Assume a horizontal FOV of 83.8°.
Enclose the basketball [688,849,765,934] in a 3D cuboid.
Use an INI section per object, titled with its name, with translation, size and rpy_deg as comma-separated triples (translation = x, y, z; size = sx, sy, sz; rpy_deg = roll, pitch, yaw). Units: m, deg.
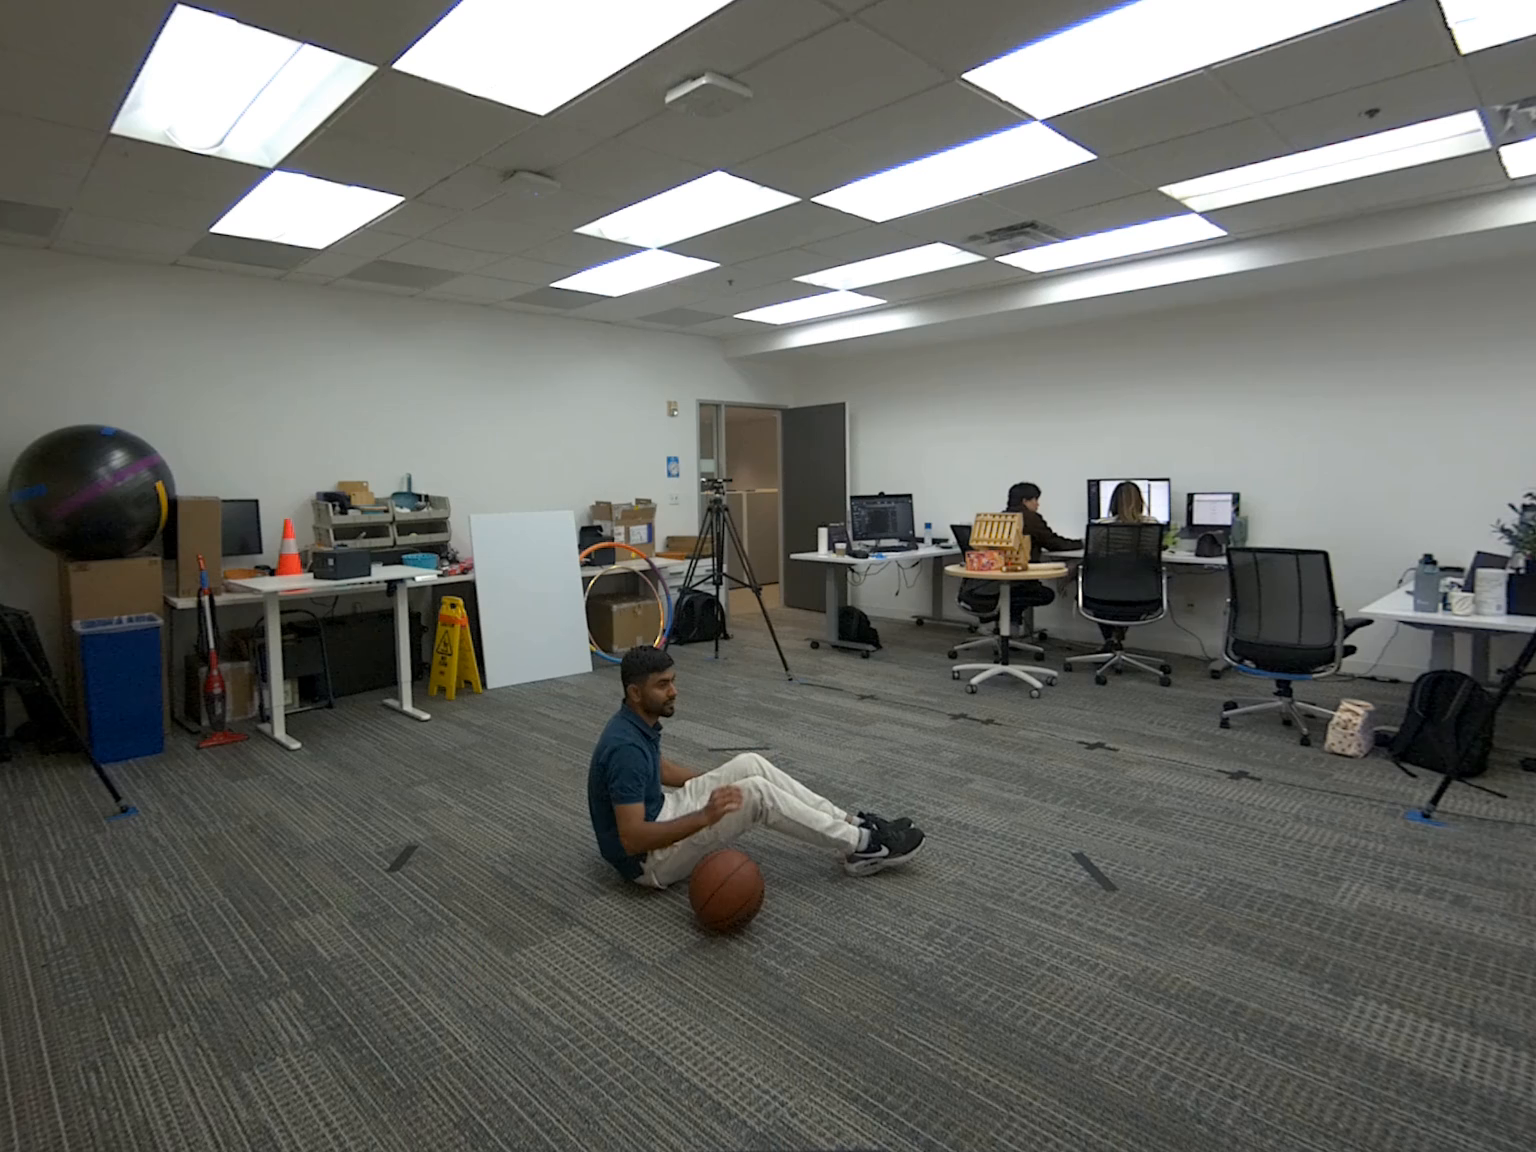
[basketball]
translation = -0.123, 0.985, 2.668
size = 0.236, 0.235, 0.237
rpy_deg = -1, 5, -2
